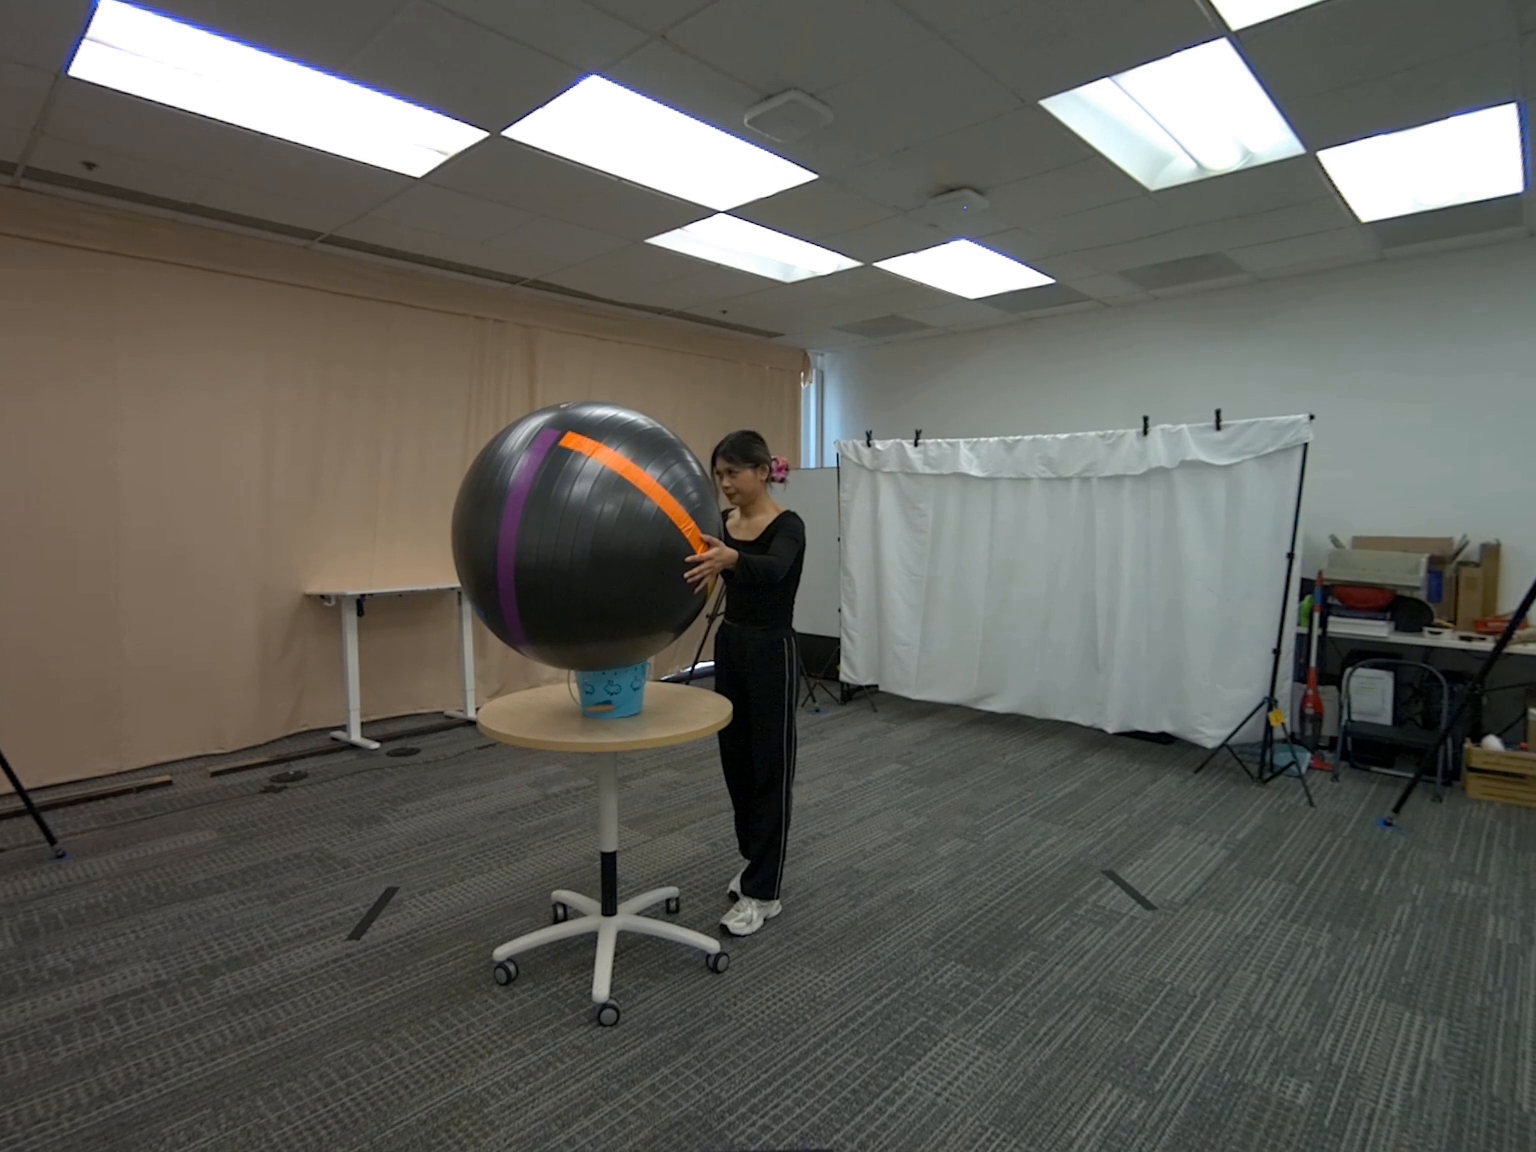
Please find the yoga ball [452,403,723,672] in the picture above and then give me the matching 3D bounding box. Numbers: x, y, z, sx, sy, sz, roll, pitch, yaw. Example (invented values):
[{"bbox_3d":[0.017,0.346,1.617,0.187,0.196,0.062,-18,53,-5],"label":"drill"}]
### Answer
[{"bbox_3d":[-0.512,-0.105,2.380,0.757,0.756,0.760,0,4,-2],"label":"yoga ball"}]
